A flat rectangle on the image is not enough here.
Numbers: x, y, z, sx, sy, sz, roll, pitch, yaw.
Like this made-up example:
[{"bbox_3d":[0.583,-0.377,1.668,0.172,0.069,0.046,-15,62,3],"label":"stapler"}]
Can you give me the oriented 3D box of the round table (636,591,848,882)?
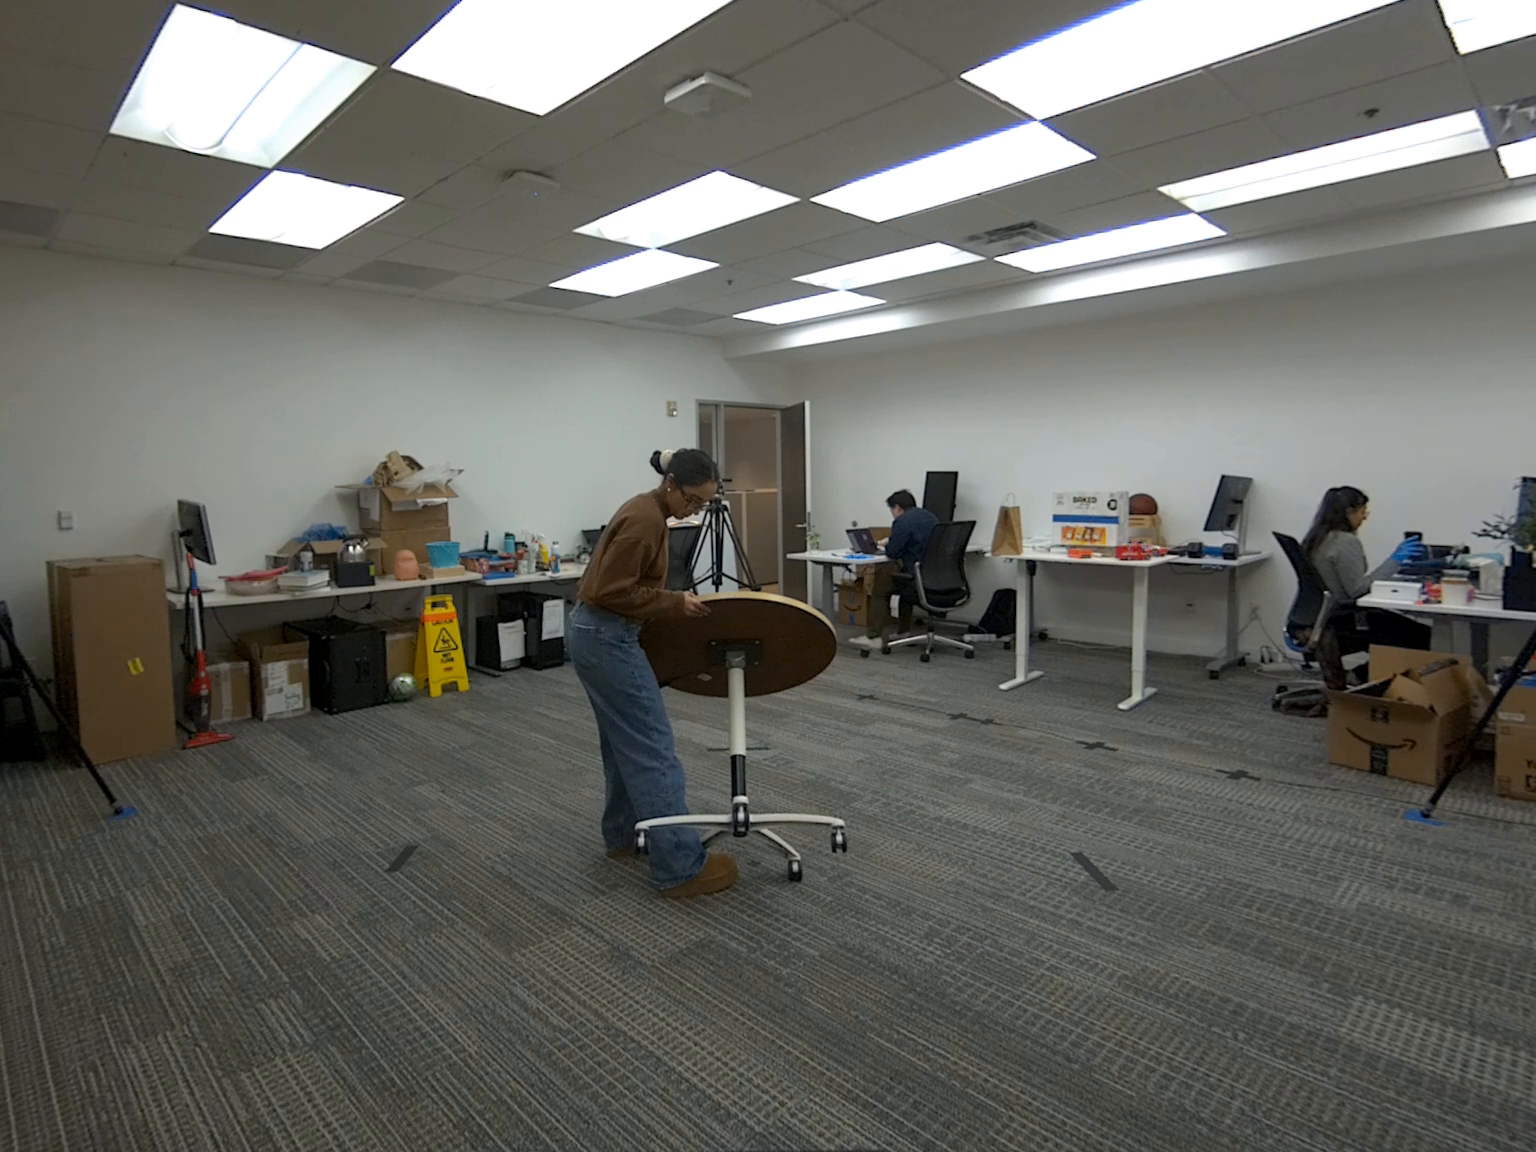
[{"bbox_3d":[-0.105,0.594,2.992,0.763,0.815,0.745,-1,-35,-2],"label":"round table"}]
